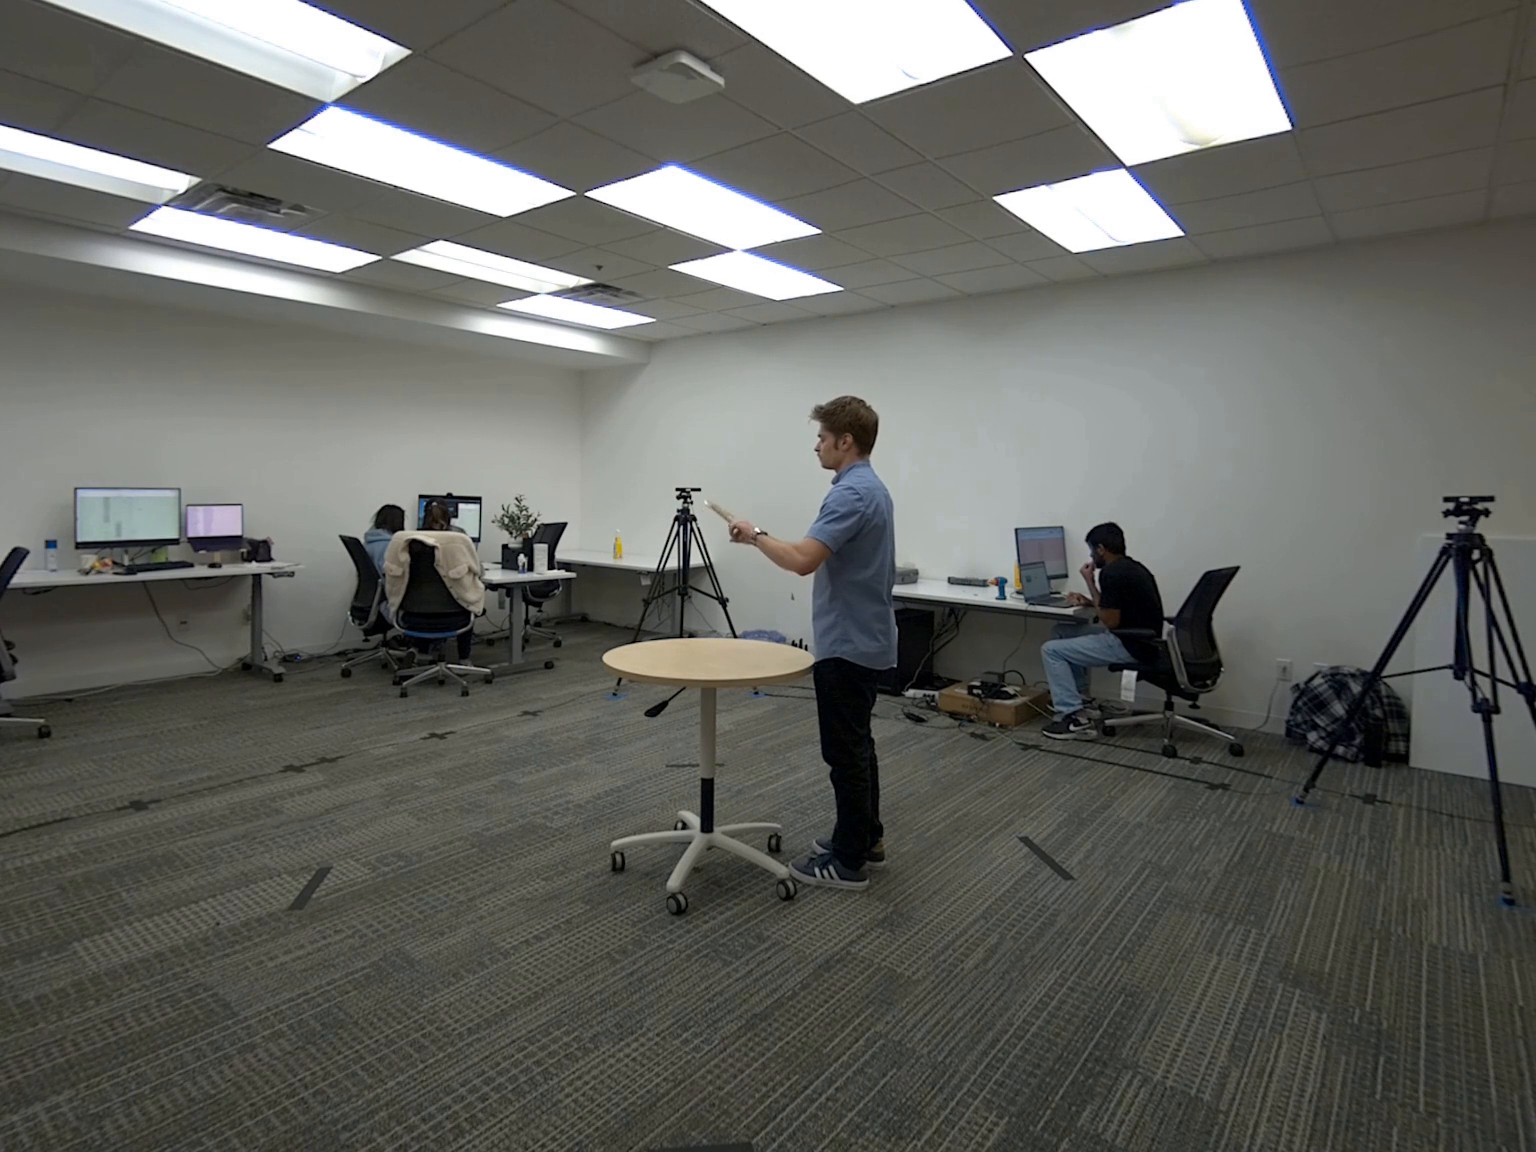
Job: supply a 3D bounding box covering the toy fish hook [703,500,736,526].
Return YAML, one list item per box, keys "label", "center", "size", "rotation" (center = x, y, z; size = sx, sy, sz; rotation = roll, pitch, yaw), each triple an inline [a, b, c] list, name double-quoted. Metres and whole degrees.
- label: "toy fish hook"
  center: [-0.160, -0.213, 3.211]
  size: [0.223, 0.048, 0.511]
  rotation: [33, 5, -8]
